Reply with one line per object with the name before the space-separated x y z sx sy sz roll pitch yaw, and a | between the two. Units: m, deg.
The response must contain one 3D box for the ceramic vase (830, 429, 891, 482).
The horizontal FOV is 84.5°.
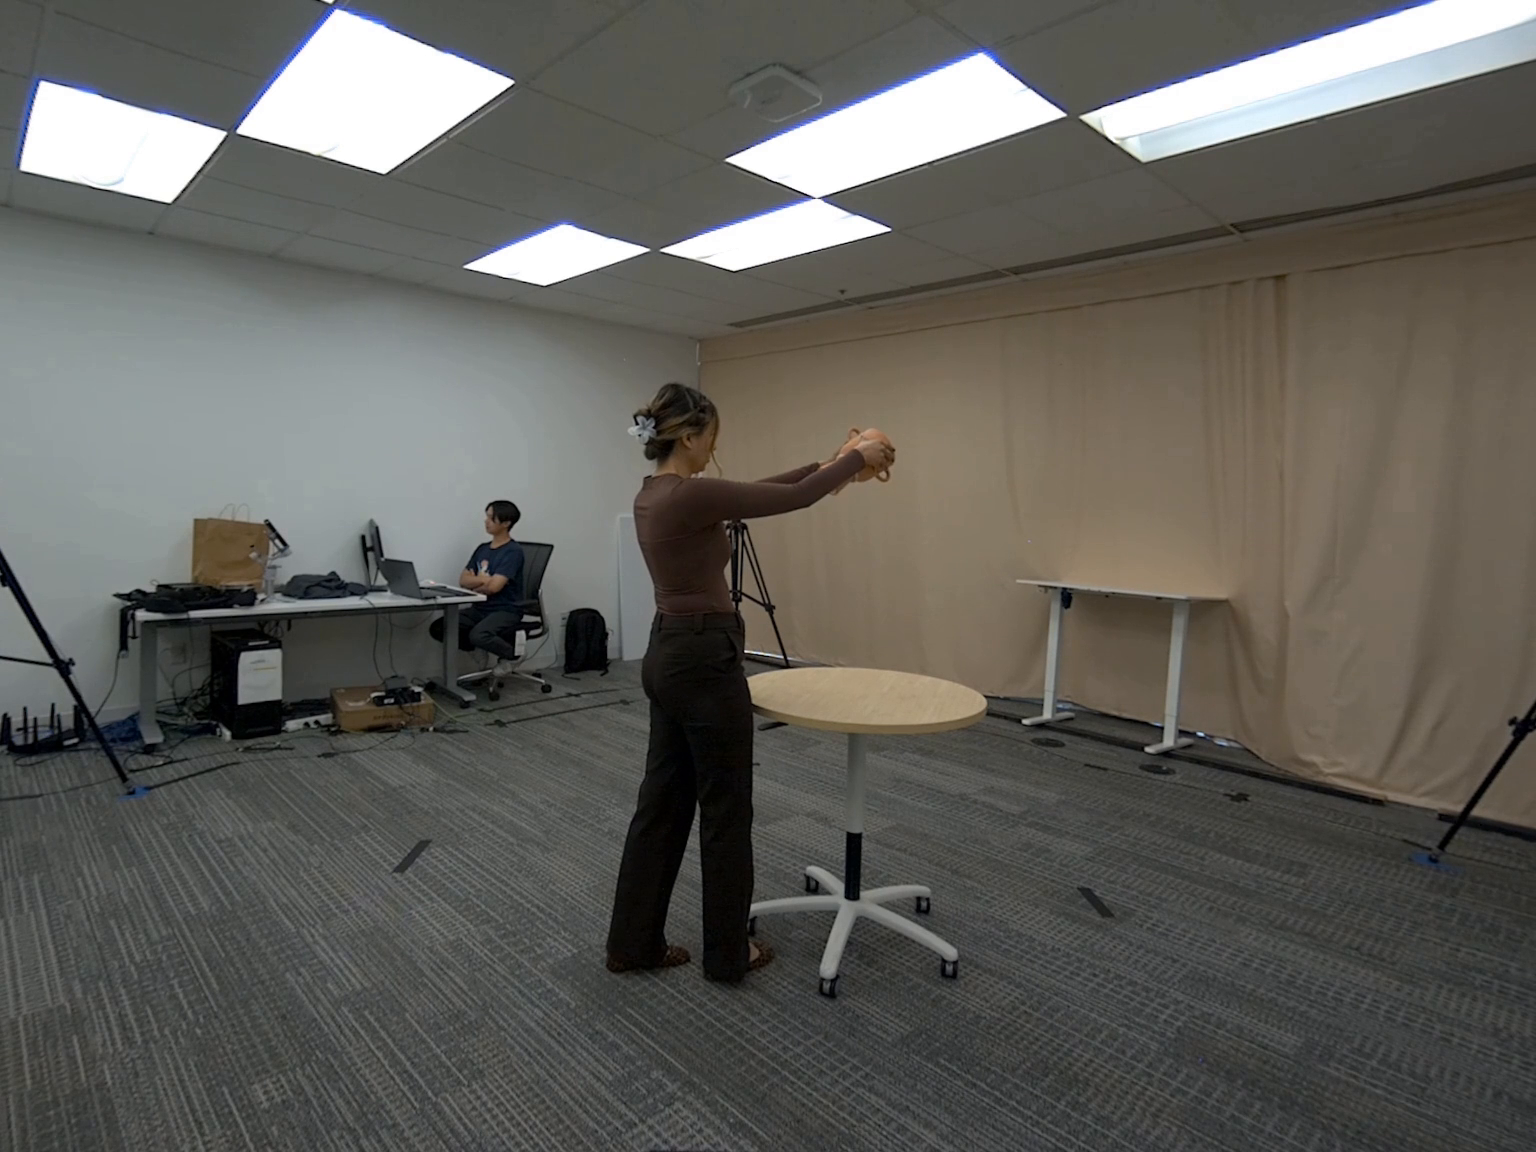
ceramic vase | 0.262 -0.341 2.587 0.219 0.131 0.164 -33 45 -18
